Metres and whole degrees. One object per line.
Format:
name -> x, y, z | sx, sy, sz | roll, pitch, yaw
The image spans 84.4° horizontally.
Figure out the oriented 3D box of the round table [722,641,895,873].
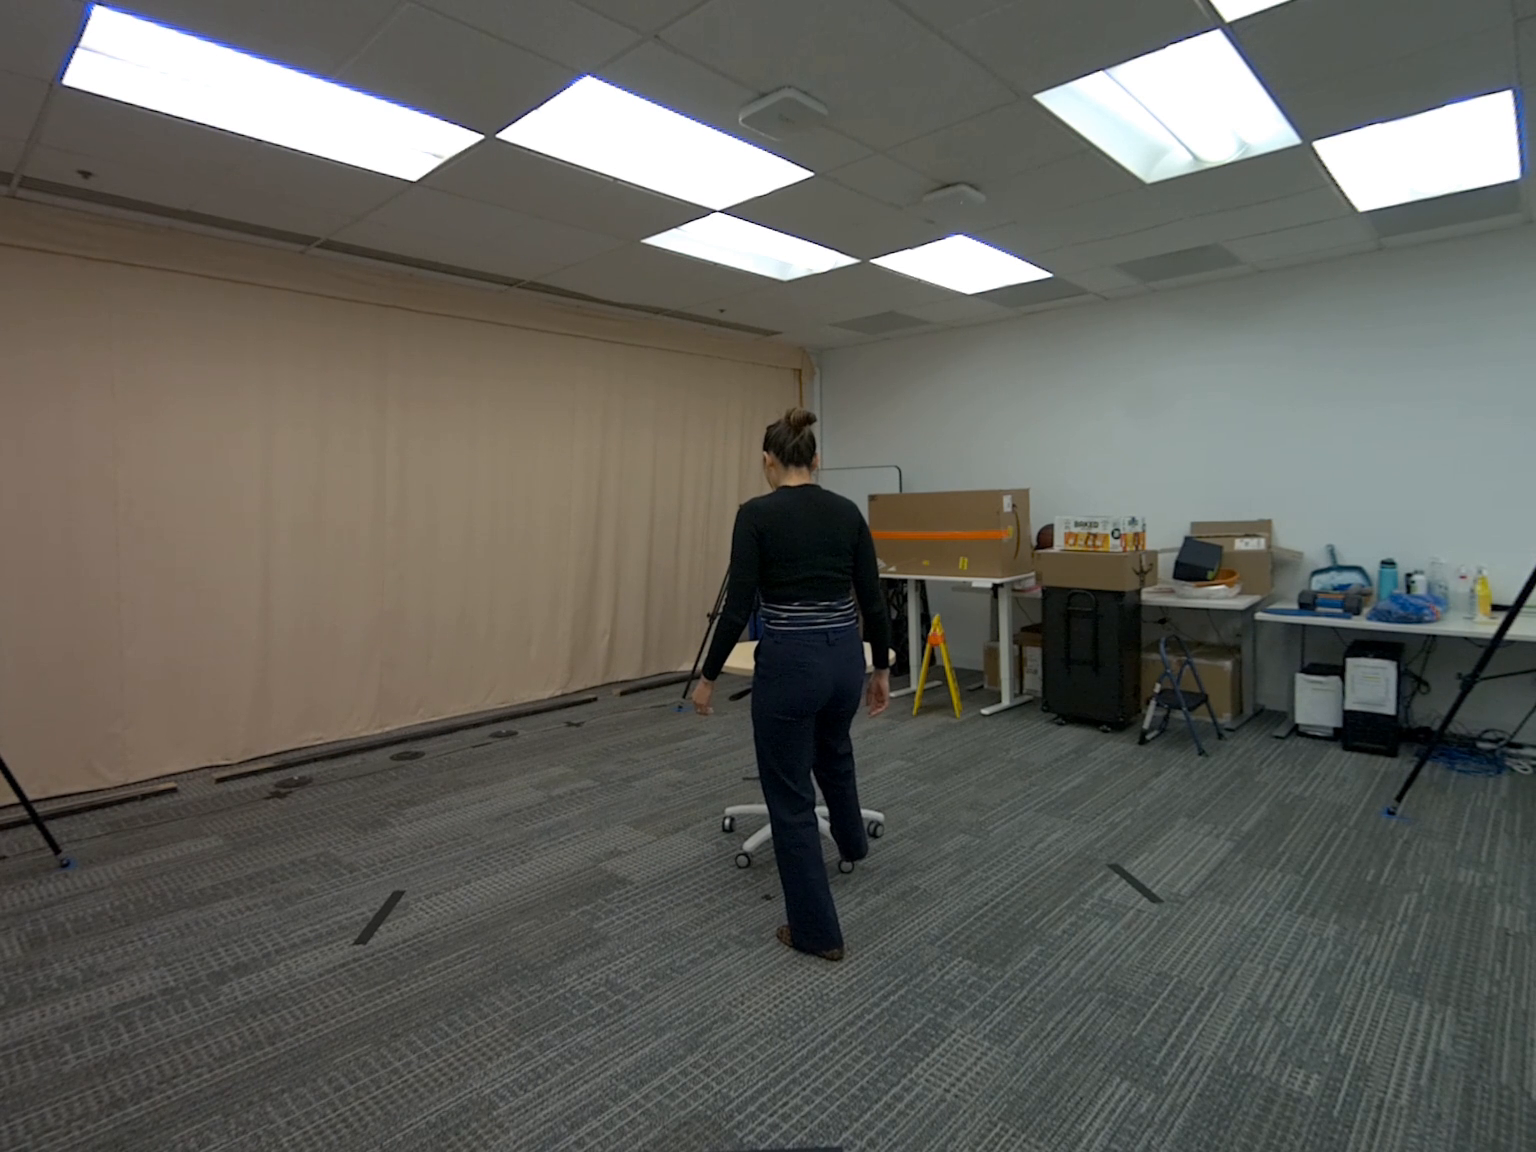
round table -> 0.140, 0.705, 3.447 | 0.763, 0.792, 0.766 | -1, 3, -2
